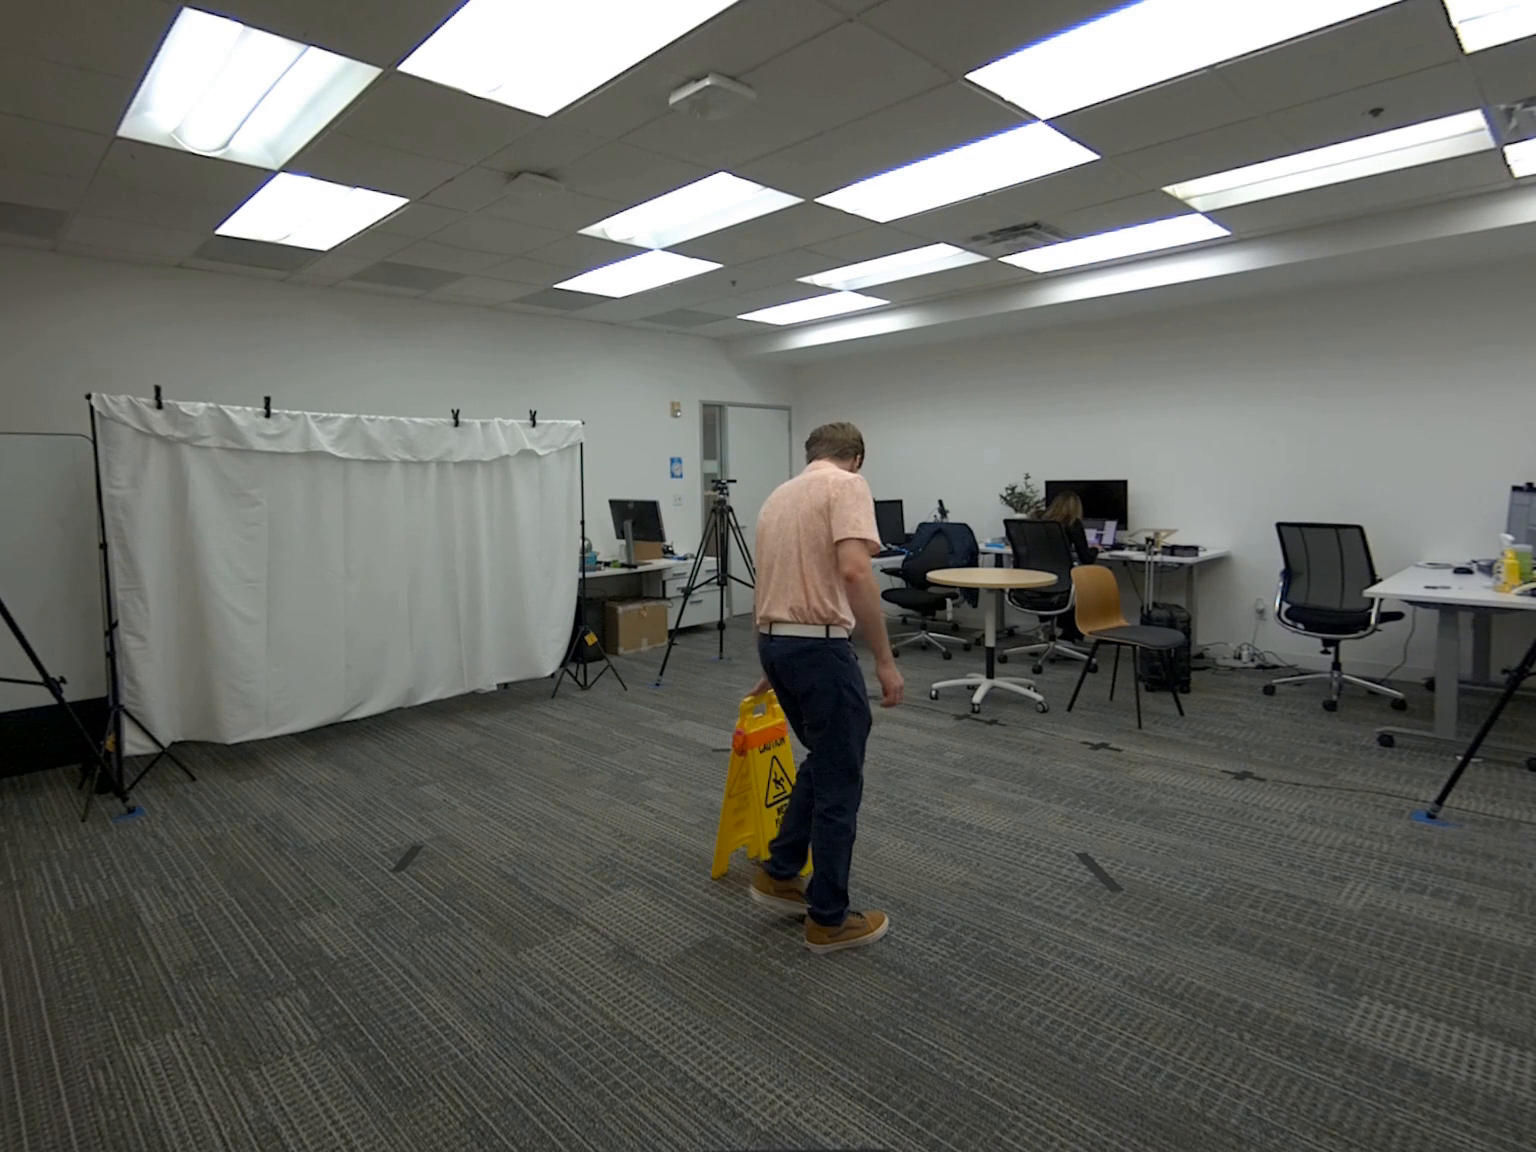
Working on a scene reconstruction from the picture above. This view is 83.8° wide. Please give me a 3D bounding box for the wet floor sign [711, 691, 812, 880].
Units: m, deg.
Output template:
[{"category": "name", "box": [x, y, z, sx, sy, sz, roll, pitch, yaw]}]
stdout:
[{"category": "wet floor sign", "box": [-0.023, 0.732, 3.005, 0.298, 0.644, 0.275, 1, 4, 39]}]
